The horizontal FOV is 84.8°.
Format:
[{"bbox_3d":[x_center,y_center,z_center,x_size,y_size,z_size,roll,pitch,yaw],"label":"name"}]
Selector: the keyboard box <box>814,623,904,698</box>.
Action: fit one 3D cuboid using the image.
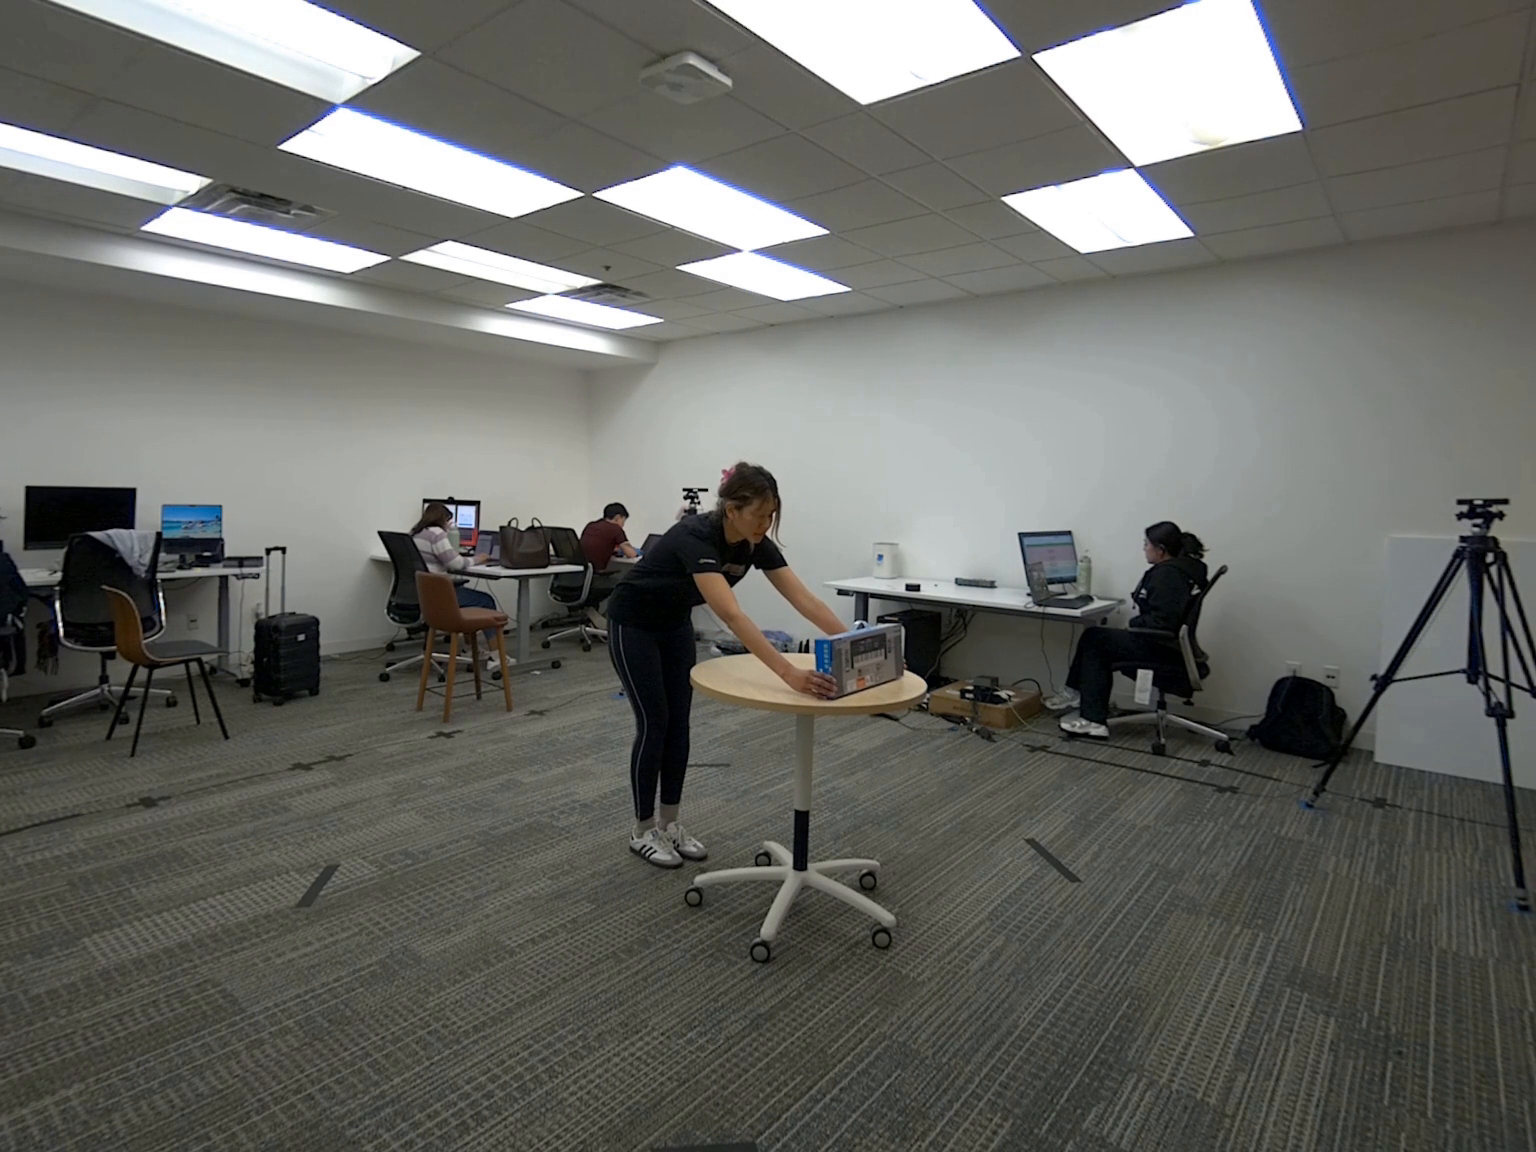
[{"bbox_3d":[0.286,0.258,2.653,0.061,0.176,0.424,-6,0,38],"label":"keyboard box"}]
